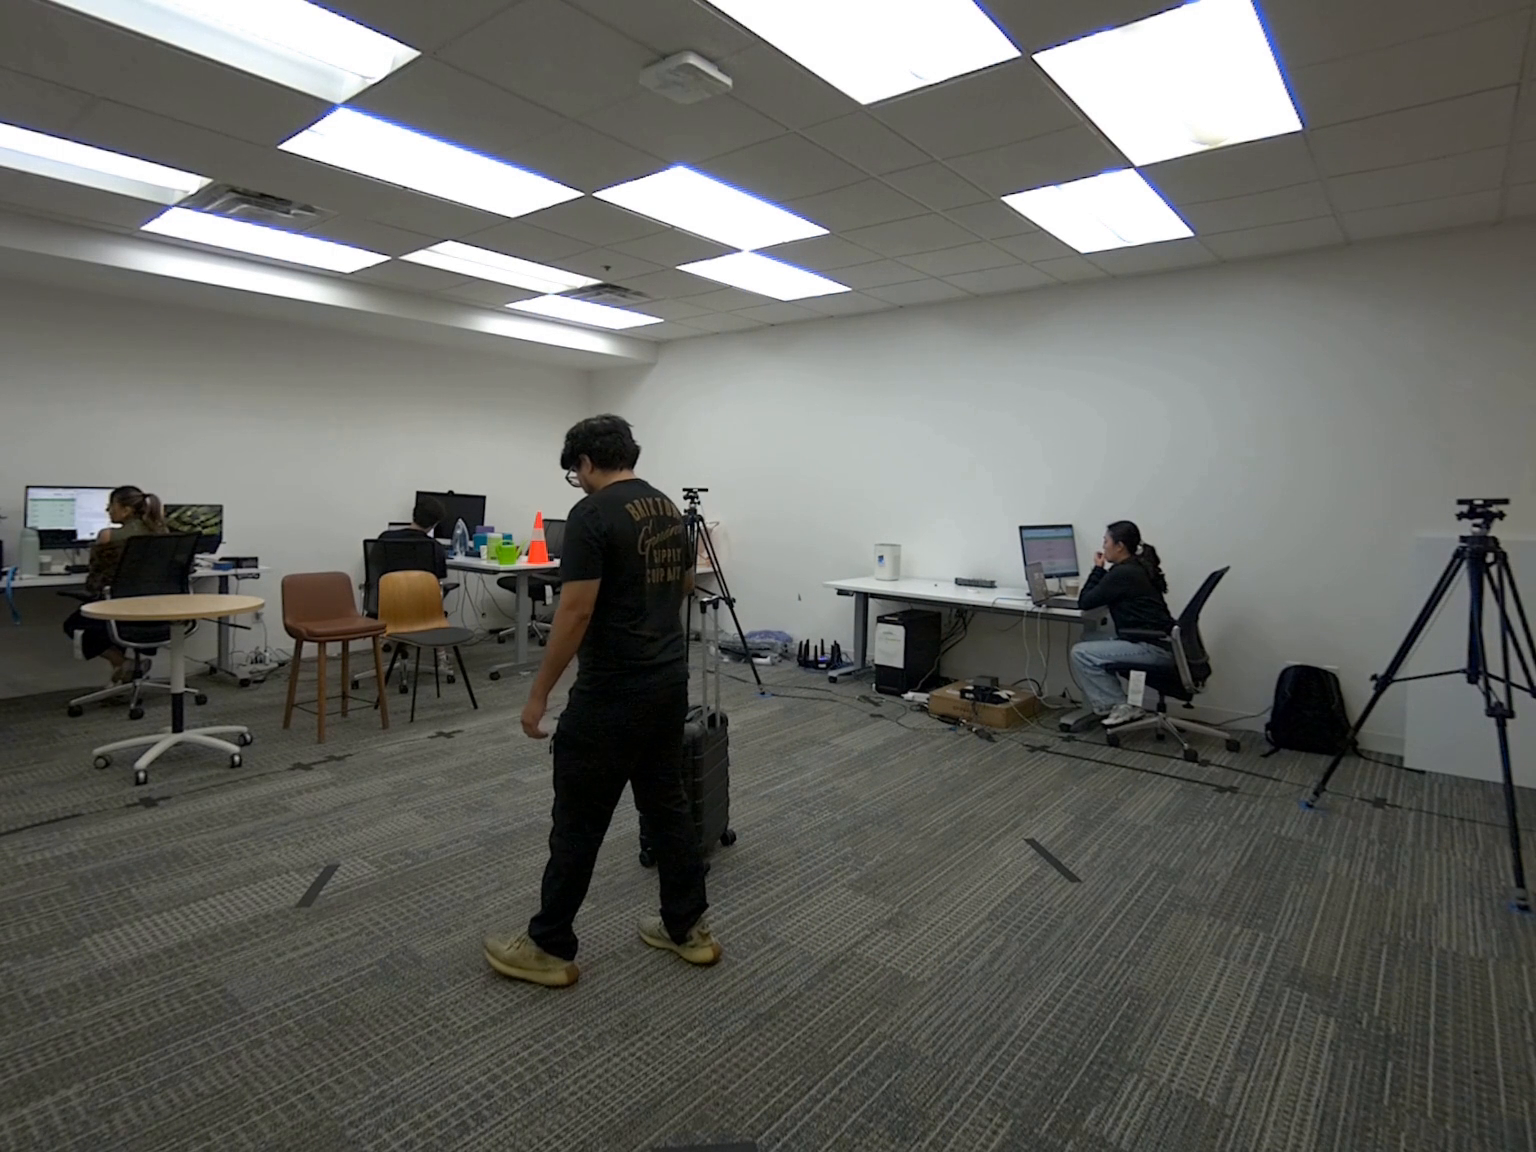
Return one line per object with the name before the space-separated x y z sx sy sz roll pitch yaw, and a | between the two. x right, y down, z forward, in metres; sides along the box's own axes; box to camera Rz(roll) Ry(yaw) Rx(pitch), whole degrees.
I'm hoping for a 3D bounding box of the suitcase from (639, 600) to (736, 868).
suitcase | -0.328 0.582 3.231 0.262 0.977 0.378 -2 1 17
